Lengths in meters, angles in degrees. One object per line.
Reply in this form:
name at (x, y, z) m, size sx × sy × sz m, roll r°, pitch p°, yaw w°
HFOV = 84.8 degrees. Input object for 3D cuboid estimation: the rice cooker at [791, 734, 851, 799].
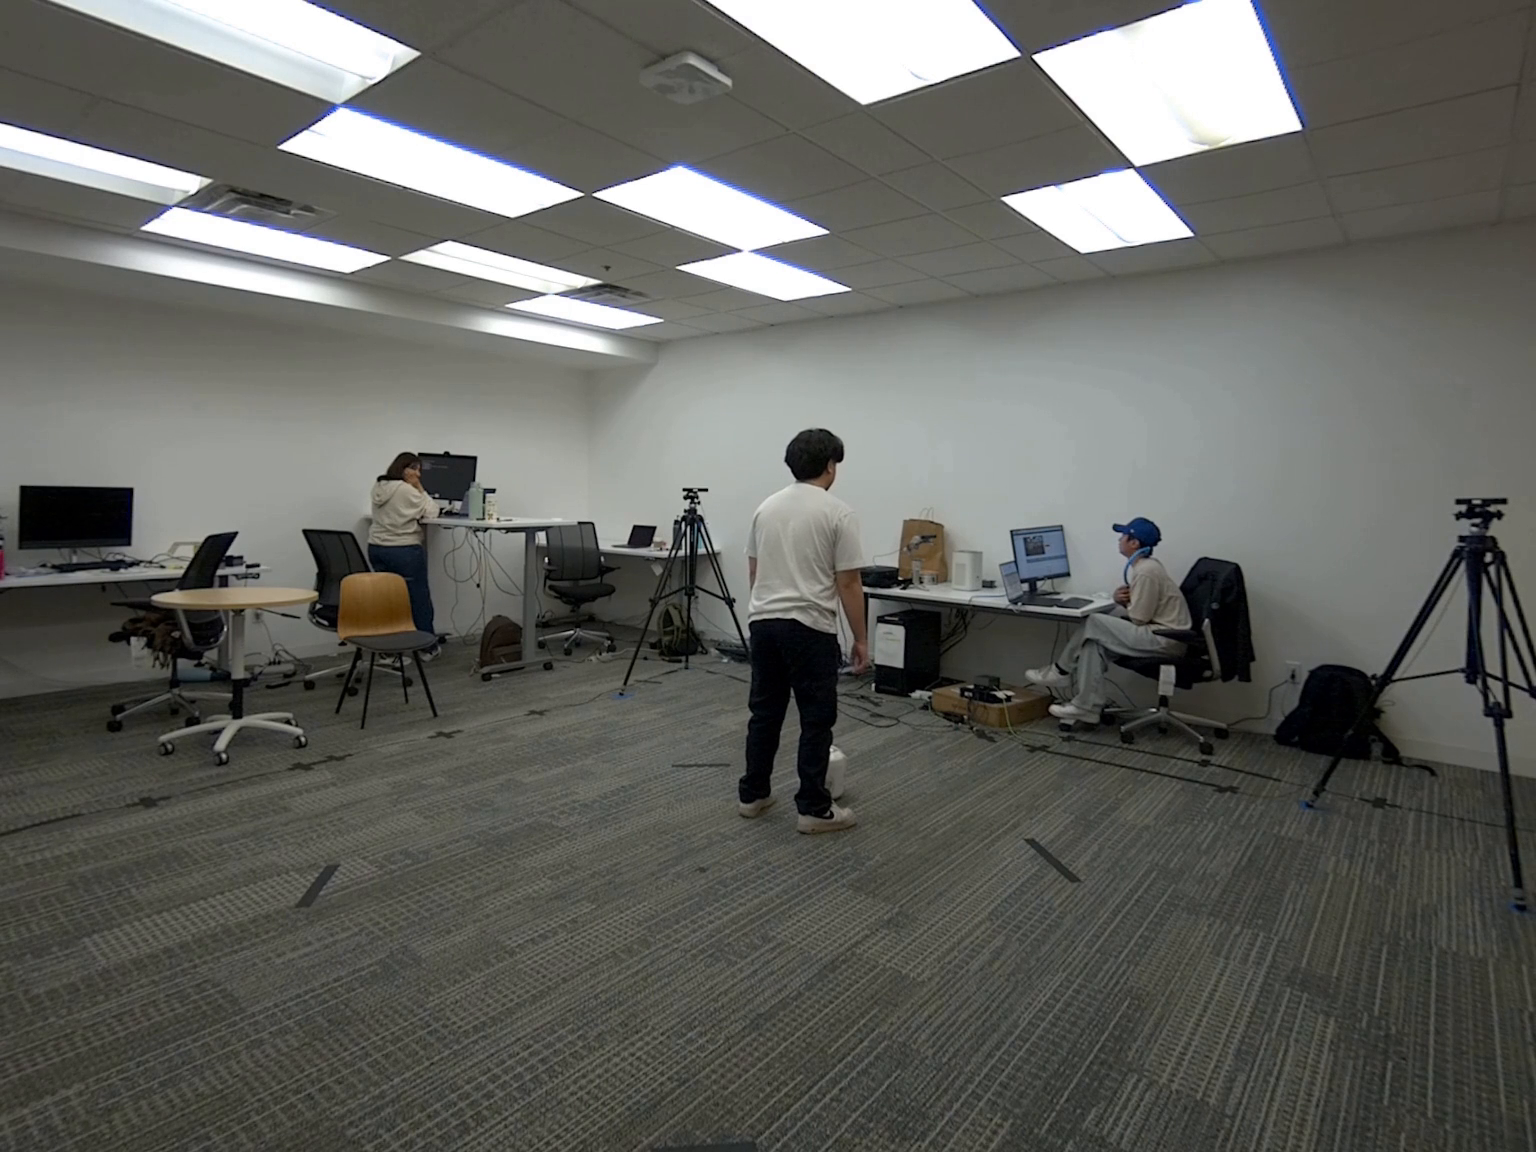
rice cooker at (0.240, 0.879, 3.899) m, size 0.219 × 0.232 × 0.220 m, roll 0°, pitch 3°, yaw -9°
